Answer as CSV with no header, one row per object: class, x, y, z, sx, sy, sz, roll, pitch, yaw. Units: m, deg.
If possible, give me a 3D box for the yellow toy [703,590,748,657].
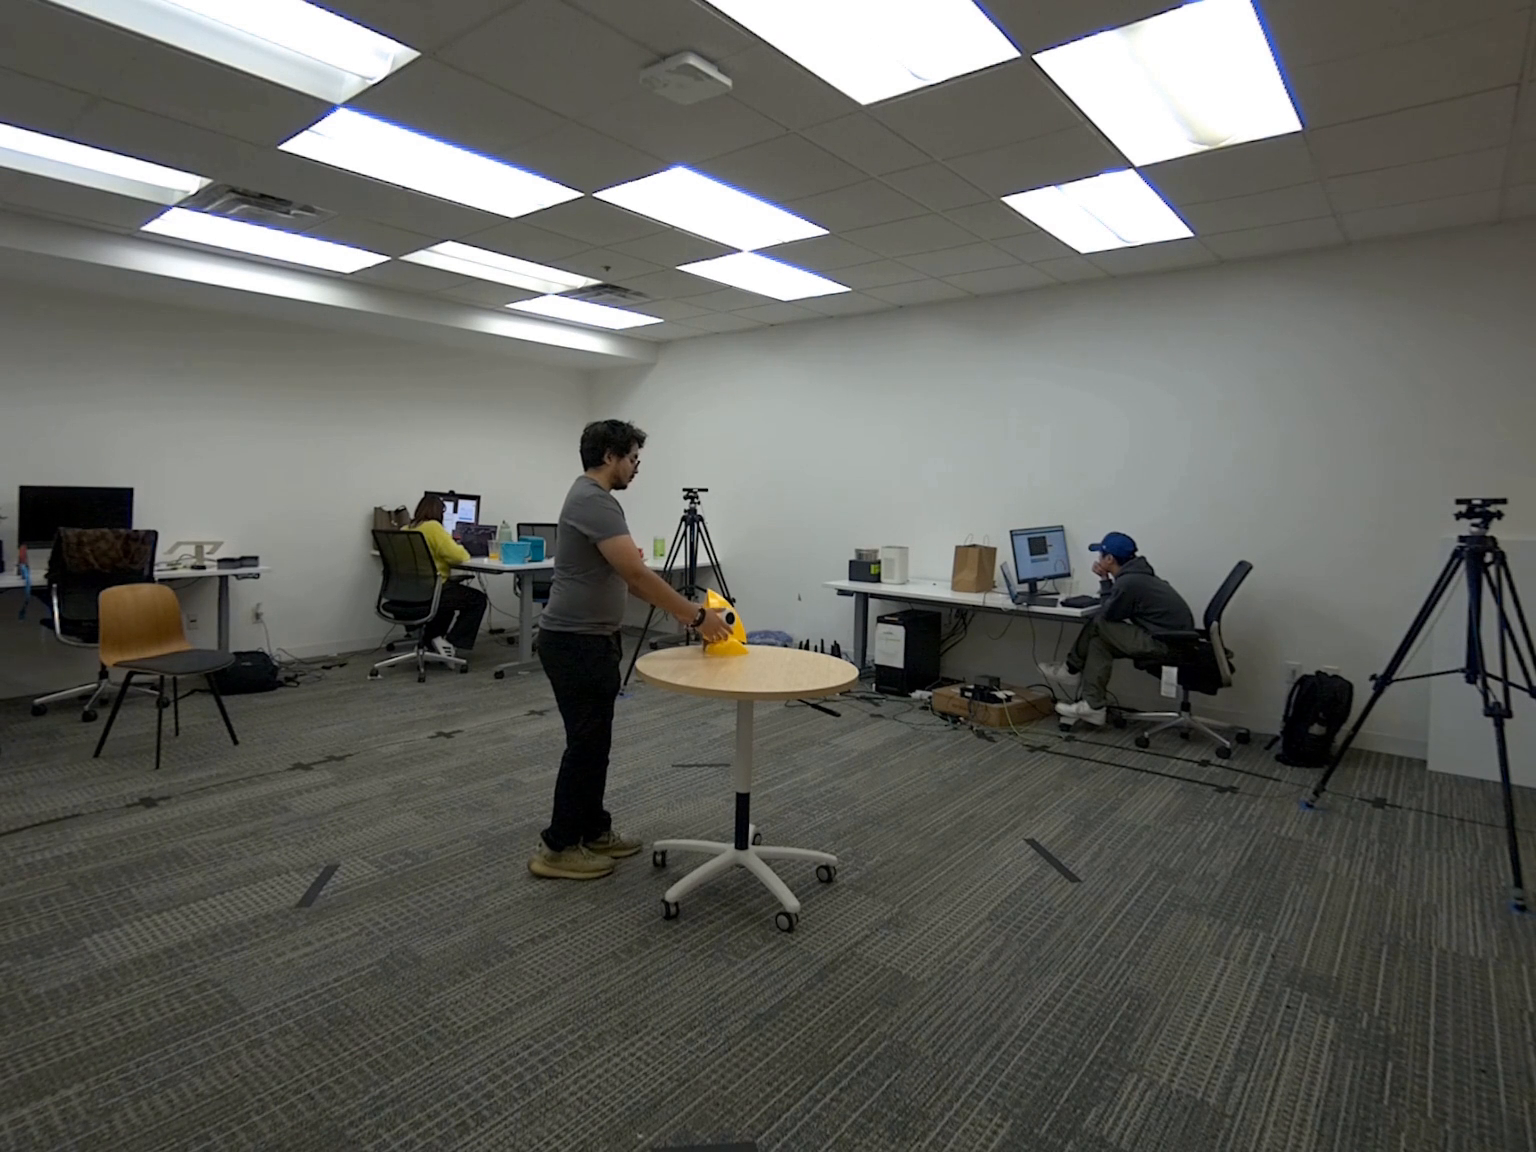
yellow toy,-0.184,0.163,3.191,0.190,0.230,0.208,2,4,-14
